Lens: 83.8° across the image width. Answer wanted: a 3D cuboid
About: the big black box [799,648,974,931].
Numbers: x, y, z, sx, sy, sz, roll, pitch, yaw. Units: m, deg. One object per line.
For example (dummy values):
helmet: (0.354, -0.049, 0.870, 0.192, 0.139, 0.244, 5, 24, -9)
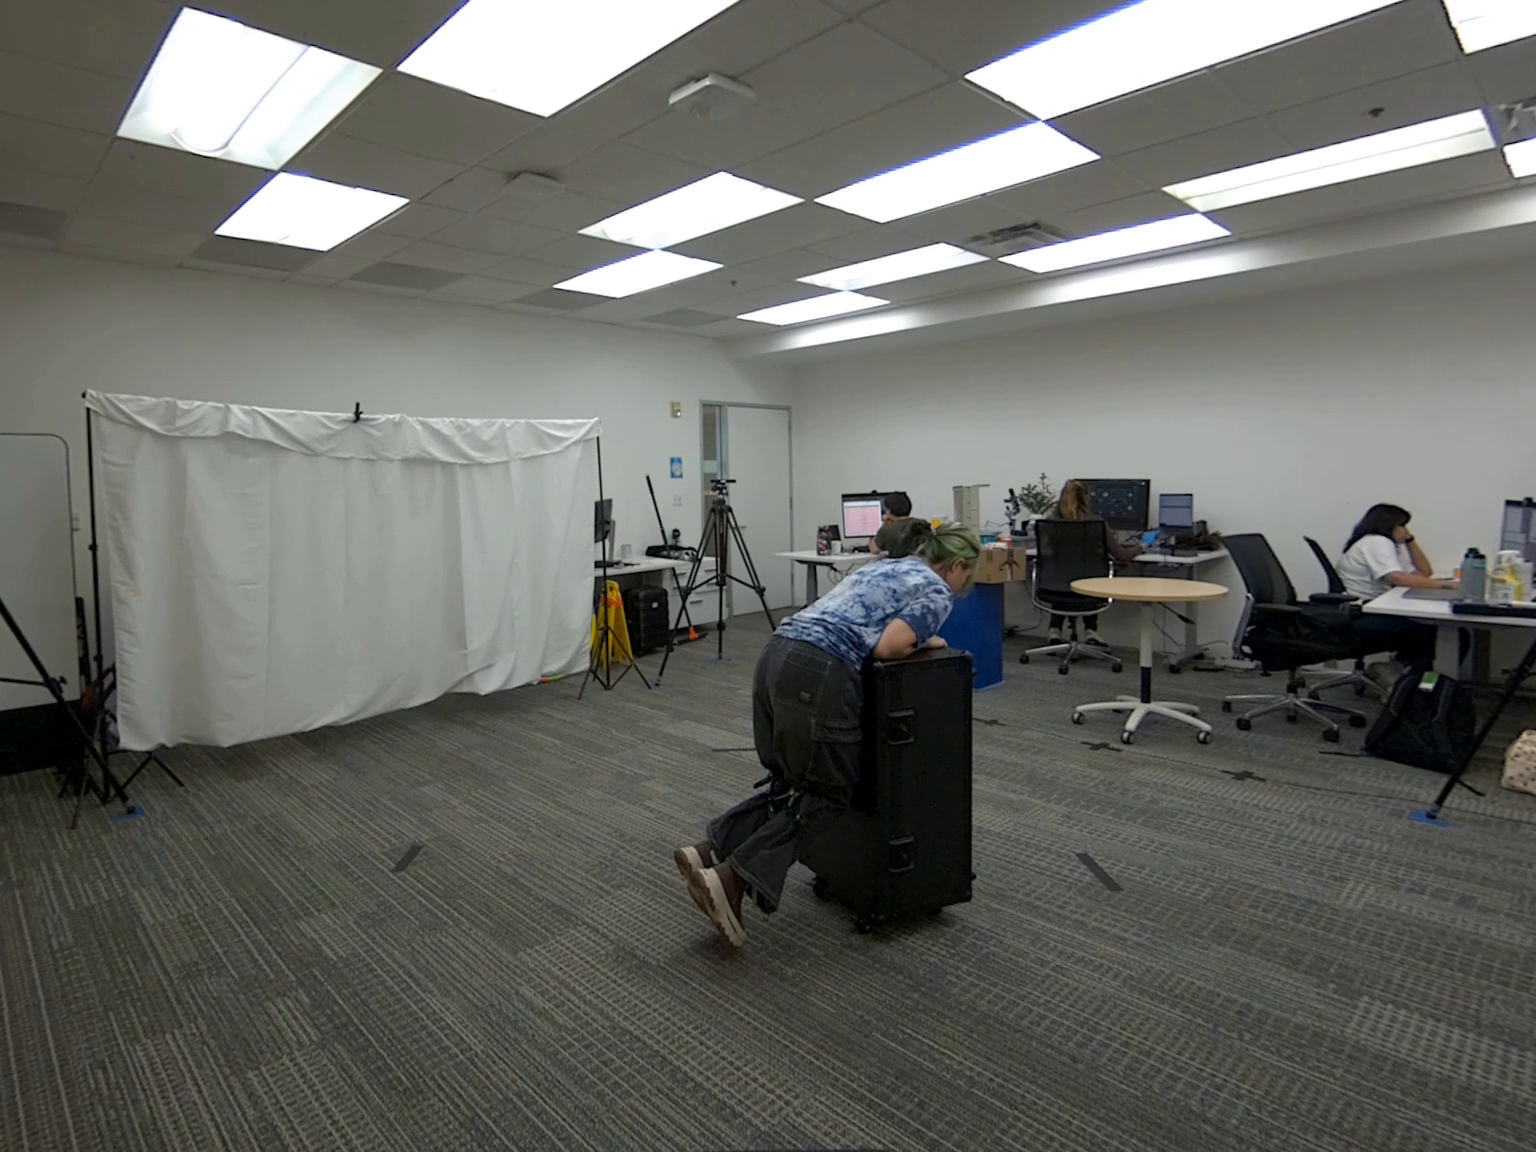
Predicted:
big black box: (0.383, 0.597, 2.797, 0.388, 0.858, 0.534, -2, 4, -26)
